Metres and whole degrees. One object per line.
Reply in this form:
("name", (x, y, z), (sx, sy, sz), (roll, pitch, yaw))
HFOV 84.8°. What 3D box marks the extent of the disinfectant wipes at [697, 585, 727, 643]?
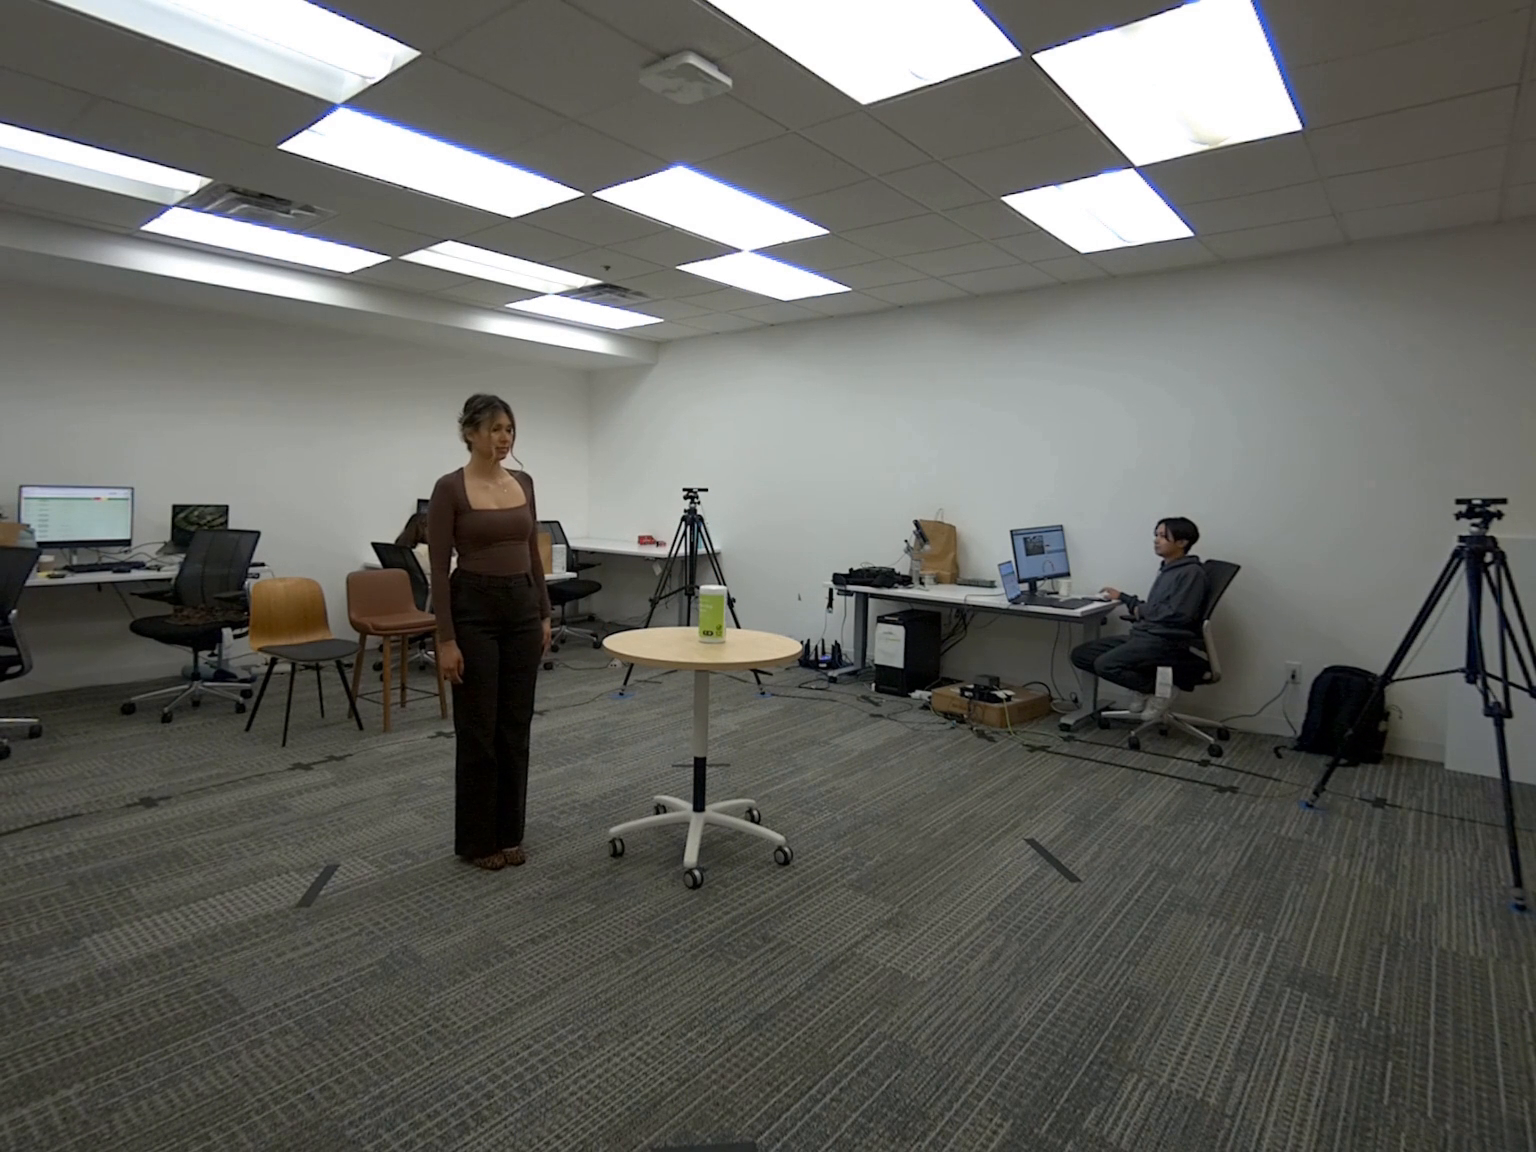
("disinfectant wipes", (-0.228, 0.147, 3.315), (0.117, 0.217, 0.118), (2, 4, -2))
